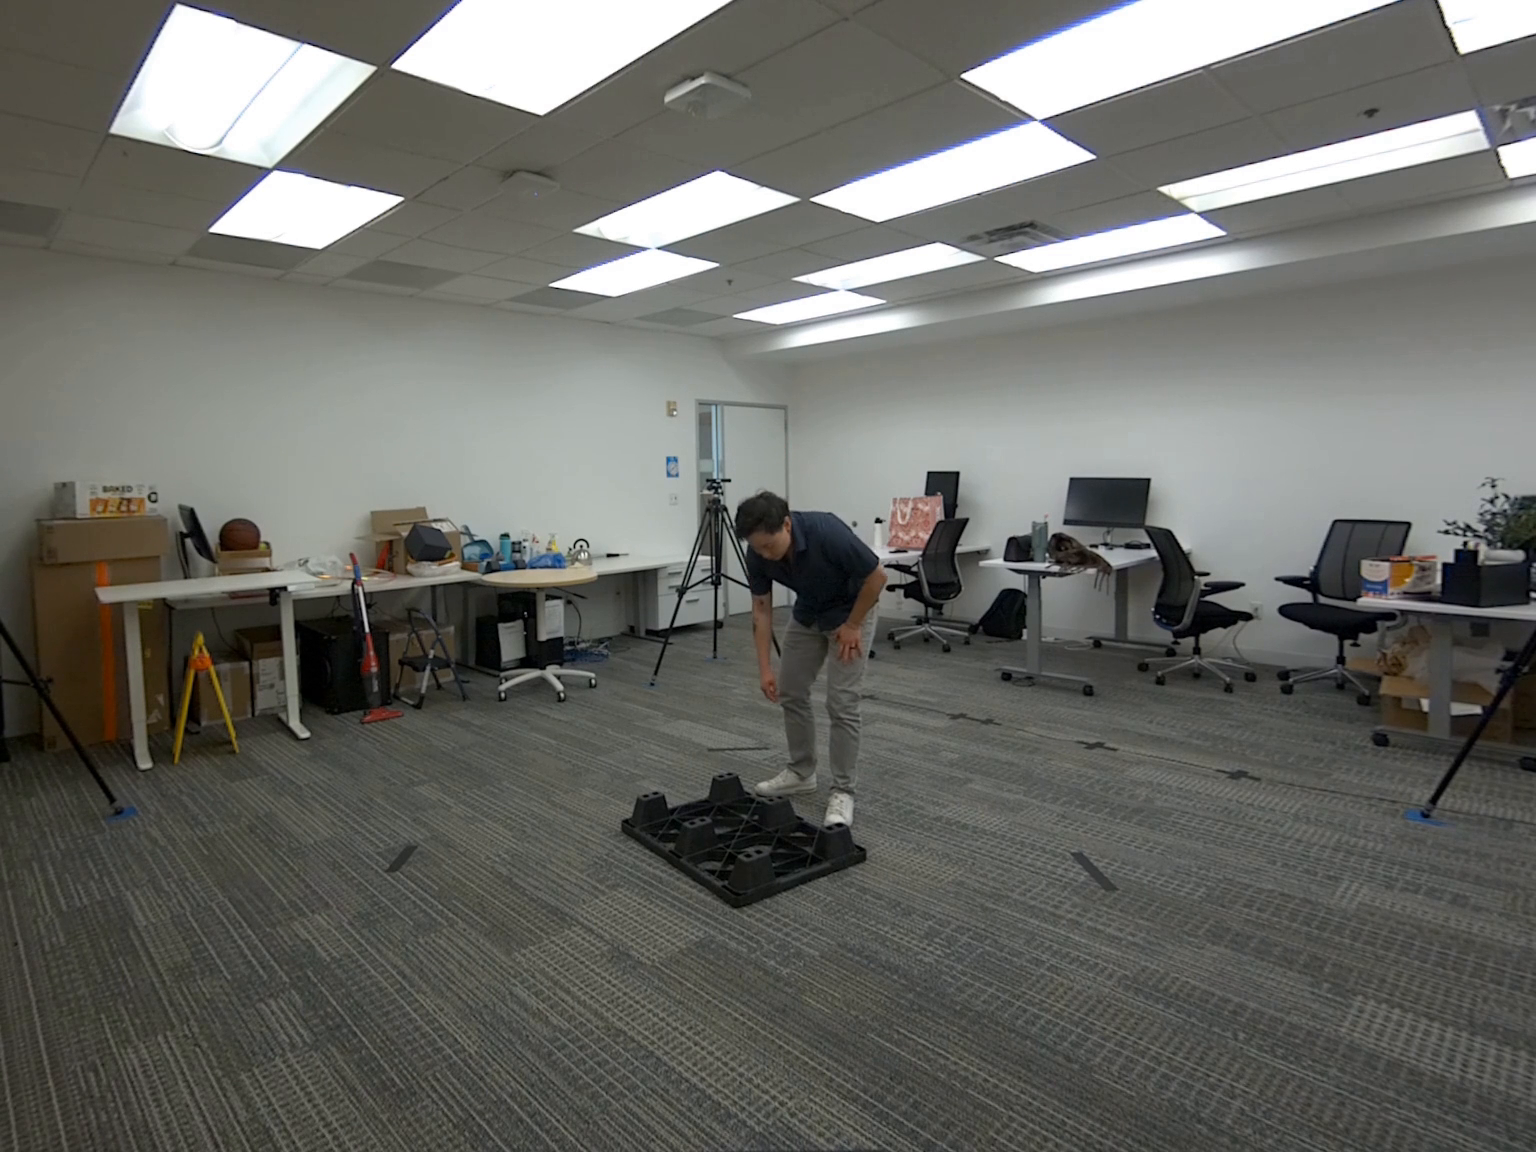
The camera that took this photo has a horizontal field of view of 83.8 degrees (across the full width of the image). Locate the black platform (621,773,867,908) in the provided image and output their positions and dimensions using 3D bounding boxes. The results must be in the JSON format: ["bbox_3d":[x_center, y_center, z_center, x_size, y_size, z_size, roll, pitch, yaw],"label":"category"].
[{"bbox_3d":[-0.107,0.961,3.263,0.590,0.142,0.830,-6,9,-37],"label":"black platform"}]
